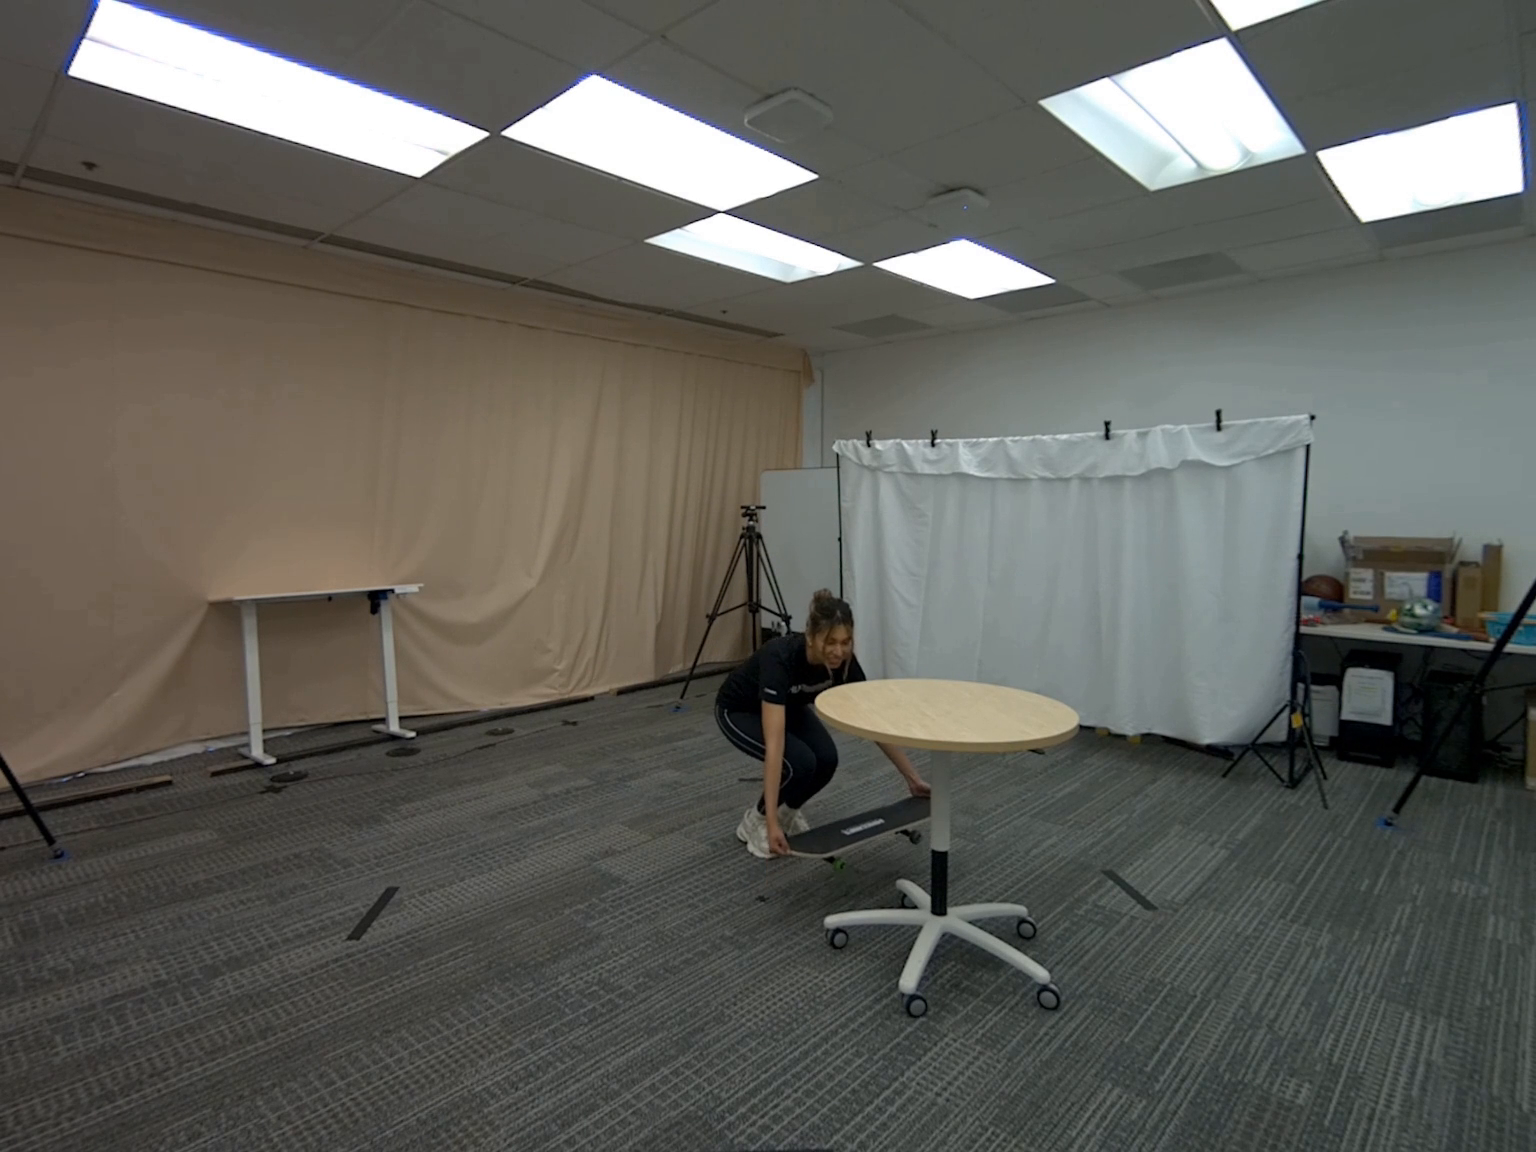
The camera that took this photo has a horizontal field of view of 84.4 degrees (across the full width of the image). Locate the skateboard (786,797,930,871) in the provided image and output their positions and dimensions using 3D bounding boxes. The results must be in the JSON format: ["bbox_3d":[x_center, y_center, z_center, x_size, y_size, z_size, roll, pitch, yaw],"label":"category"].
[{"bbox_3d":[0.356,0.949,3.076,0.762,0.110,0.200,-5,7,-38],"label":"skateboard"}]
